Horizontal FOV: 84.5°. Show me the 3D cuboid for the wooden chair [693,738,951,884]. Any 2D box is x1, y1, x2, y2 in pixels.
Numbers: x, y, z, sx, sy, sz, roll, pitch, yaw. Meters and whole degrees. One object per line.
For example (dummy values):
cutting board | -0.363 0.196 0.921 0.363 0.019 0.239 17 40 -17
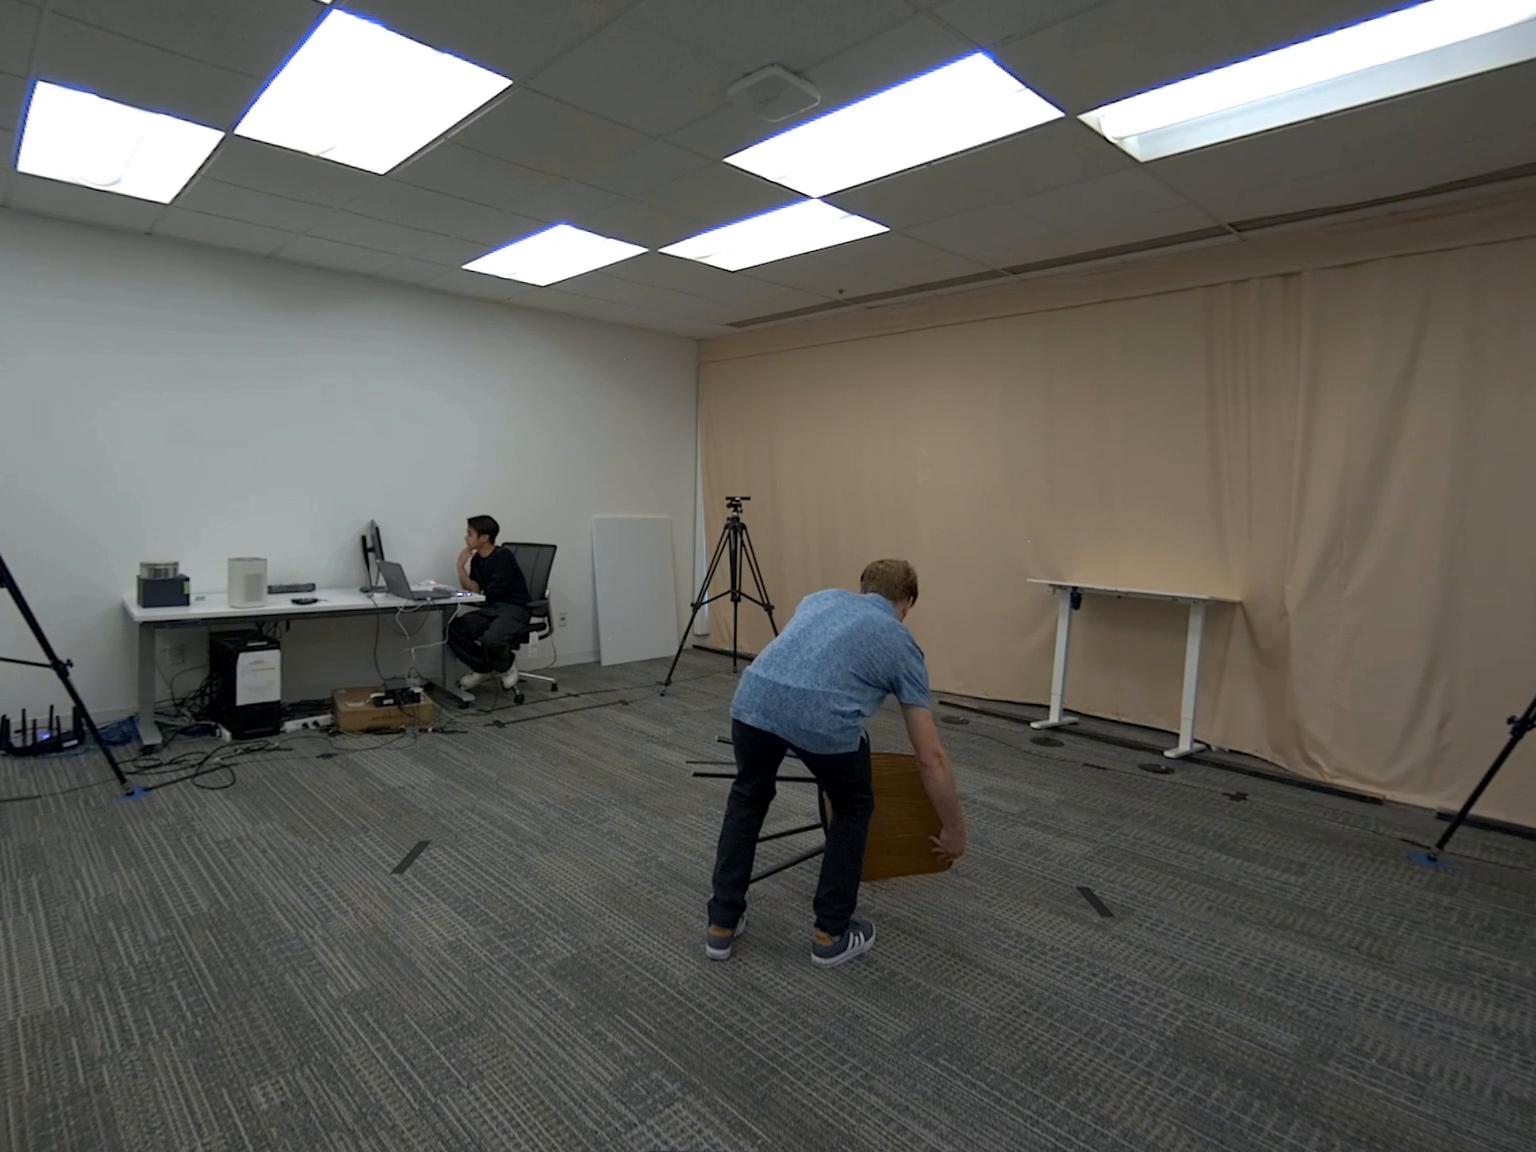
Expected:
wooden chair | 0.215 0.825 3.061 0.886 0.478 0.519 -8 2 14
